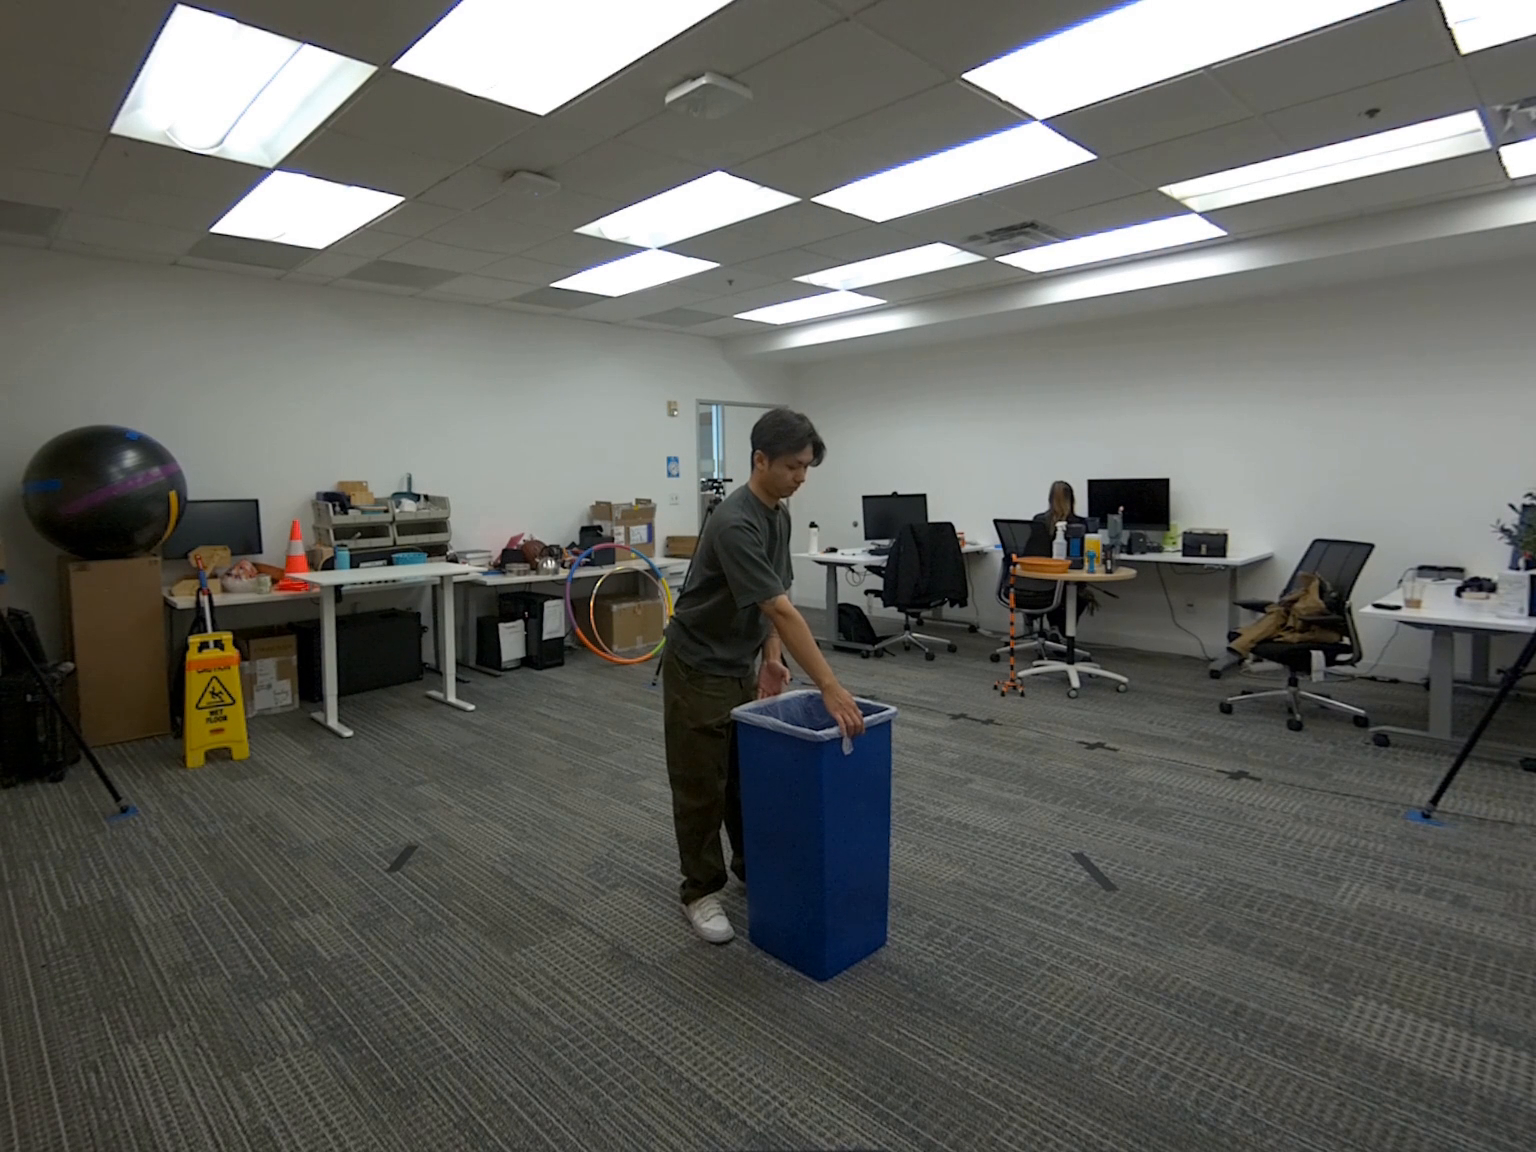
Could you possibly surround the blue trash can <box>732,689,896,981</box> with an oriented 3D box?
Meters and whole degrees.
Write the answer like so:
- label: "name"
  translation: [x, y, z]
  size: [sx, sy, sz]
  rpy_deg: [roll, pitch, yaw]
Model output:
- label: "blue trash can"
  translation: [0.141, 0.747, 2.551]
  size: [0.368, 0.711, 0.386]
  rpy_deg: [-4, 6, -44]
